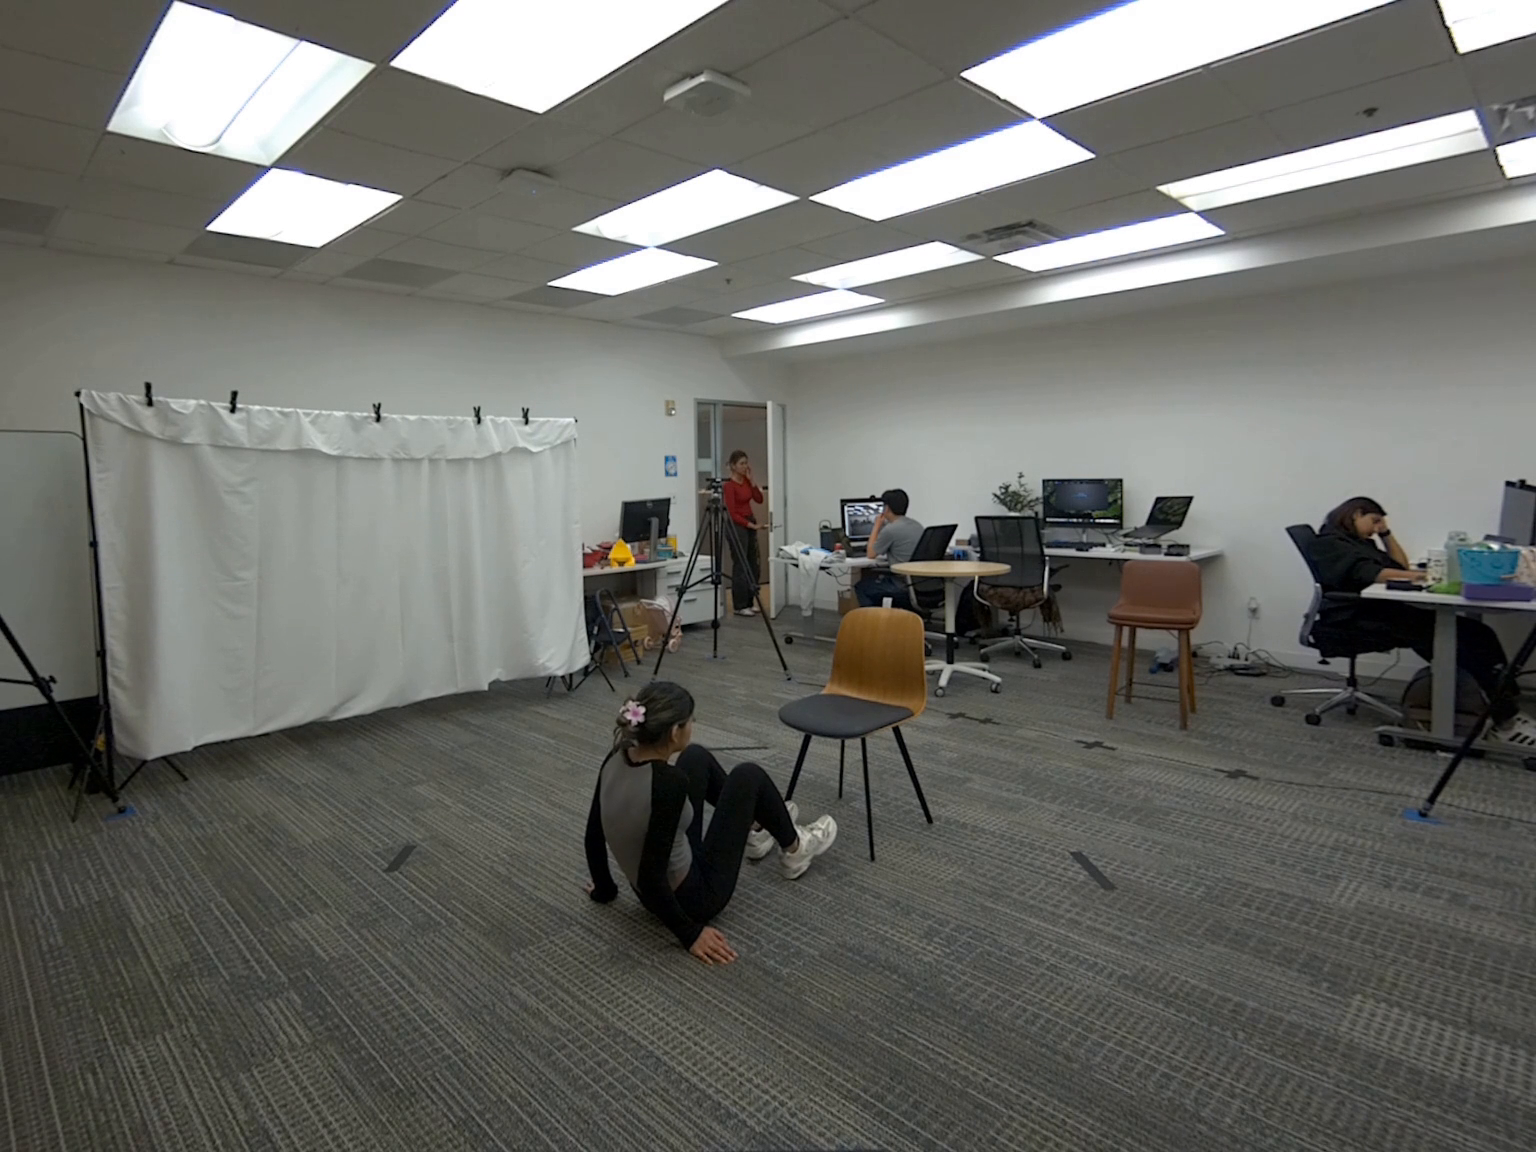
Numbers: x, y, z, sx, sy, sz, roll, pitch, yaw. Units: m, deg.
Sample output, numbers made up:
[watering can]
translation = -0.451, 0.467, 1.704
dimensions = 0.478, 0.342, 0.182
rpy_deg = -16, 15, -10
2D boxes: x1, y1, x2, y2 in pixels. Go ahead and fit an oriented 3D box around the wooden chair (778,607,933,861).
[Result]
[wooden chair]
translation = 0.337, 0.576, 3.376
dimensions = 0.492, 0.877, 0.508
rpy_deg = 3, 1, 40
